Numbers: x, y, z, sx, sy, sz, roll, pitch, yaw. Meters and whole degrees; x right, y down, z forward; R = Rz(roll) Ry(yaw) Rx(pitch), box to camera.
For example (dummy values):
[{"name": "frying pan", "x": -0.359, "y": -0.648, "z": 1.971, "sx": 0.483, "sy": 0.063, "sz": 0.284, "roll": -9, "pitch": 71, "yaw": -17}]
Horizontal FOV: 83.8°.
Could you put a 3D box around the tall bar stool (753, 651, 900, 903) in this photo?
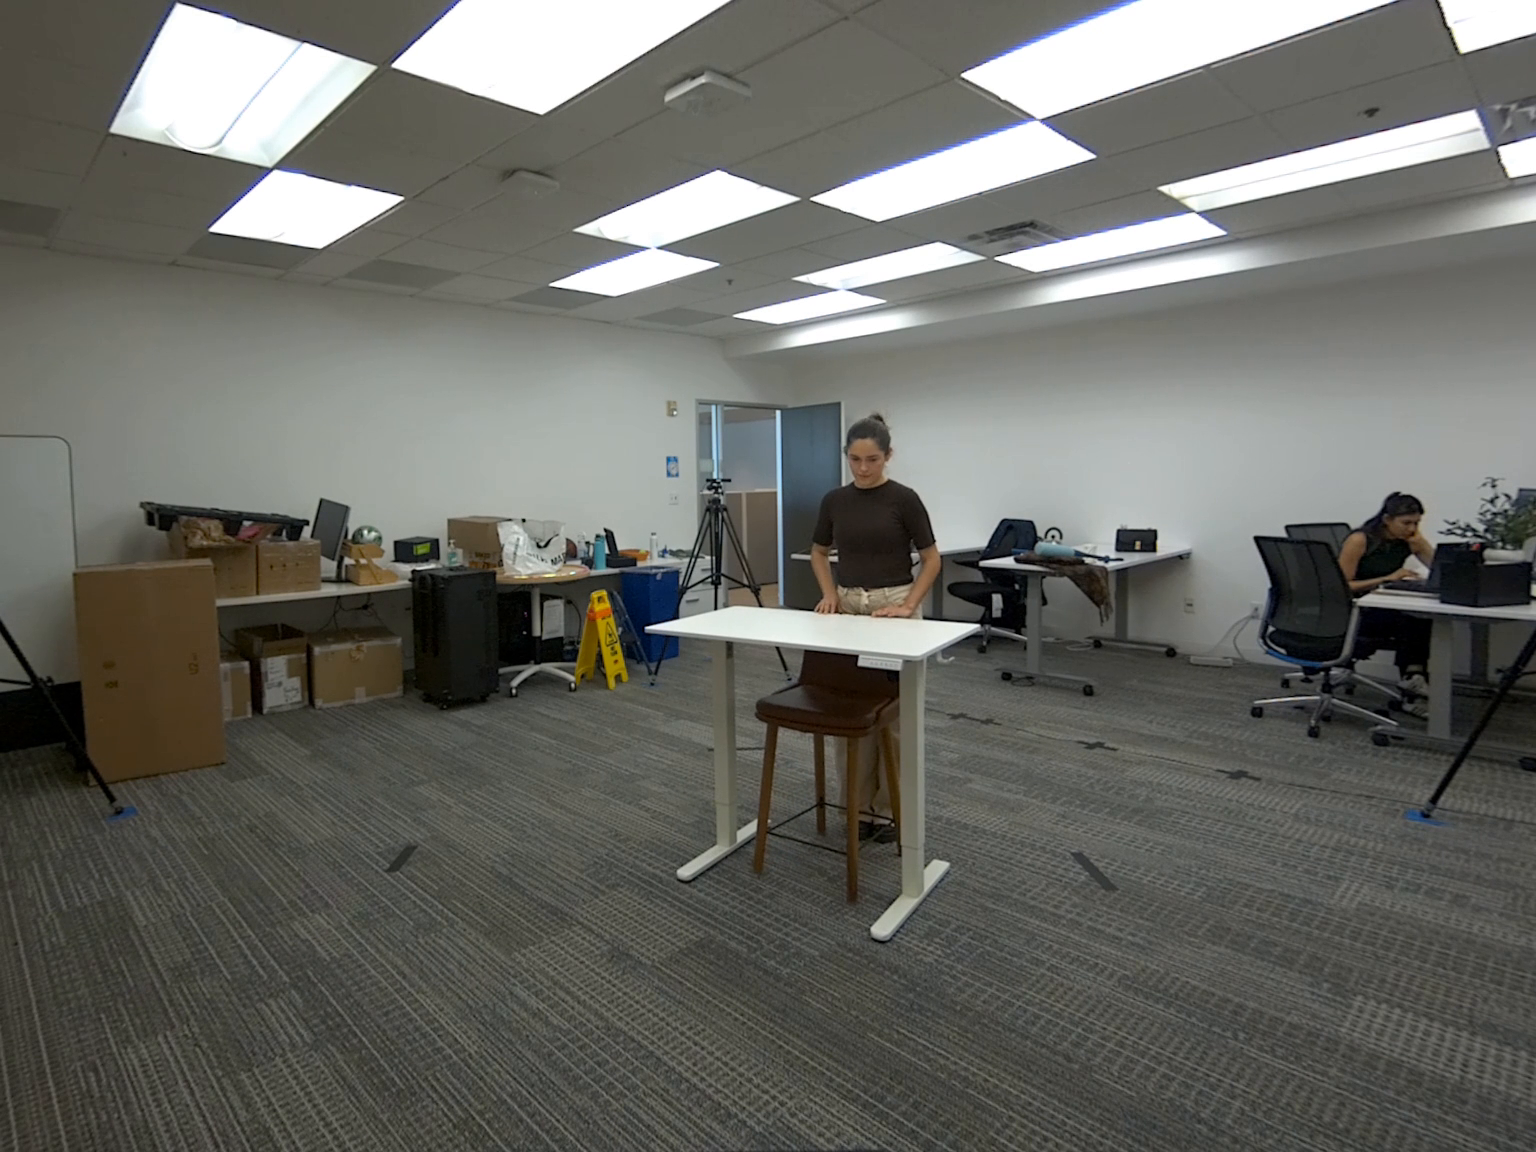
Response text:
[{"name": "tall bar stool", "x": 0.239, "y": 0.610, "z": 3.066, "sx": 0.469, "sy": 0.888, "sz": 0.455, "roll": 2, "pitch": 2, "yaw": 35}]
